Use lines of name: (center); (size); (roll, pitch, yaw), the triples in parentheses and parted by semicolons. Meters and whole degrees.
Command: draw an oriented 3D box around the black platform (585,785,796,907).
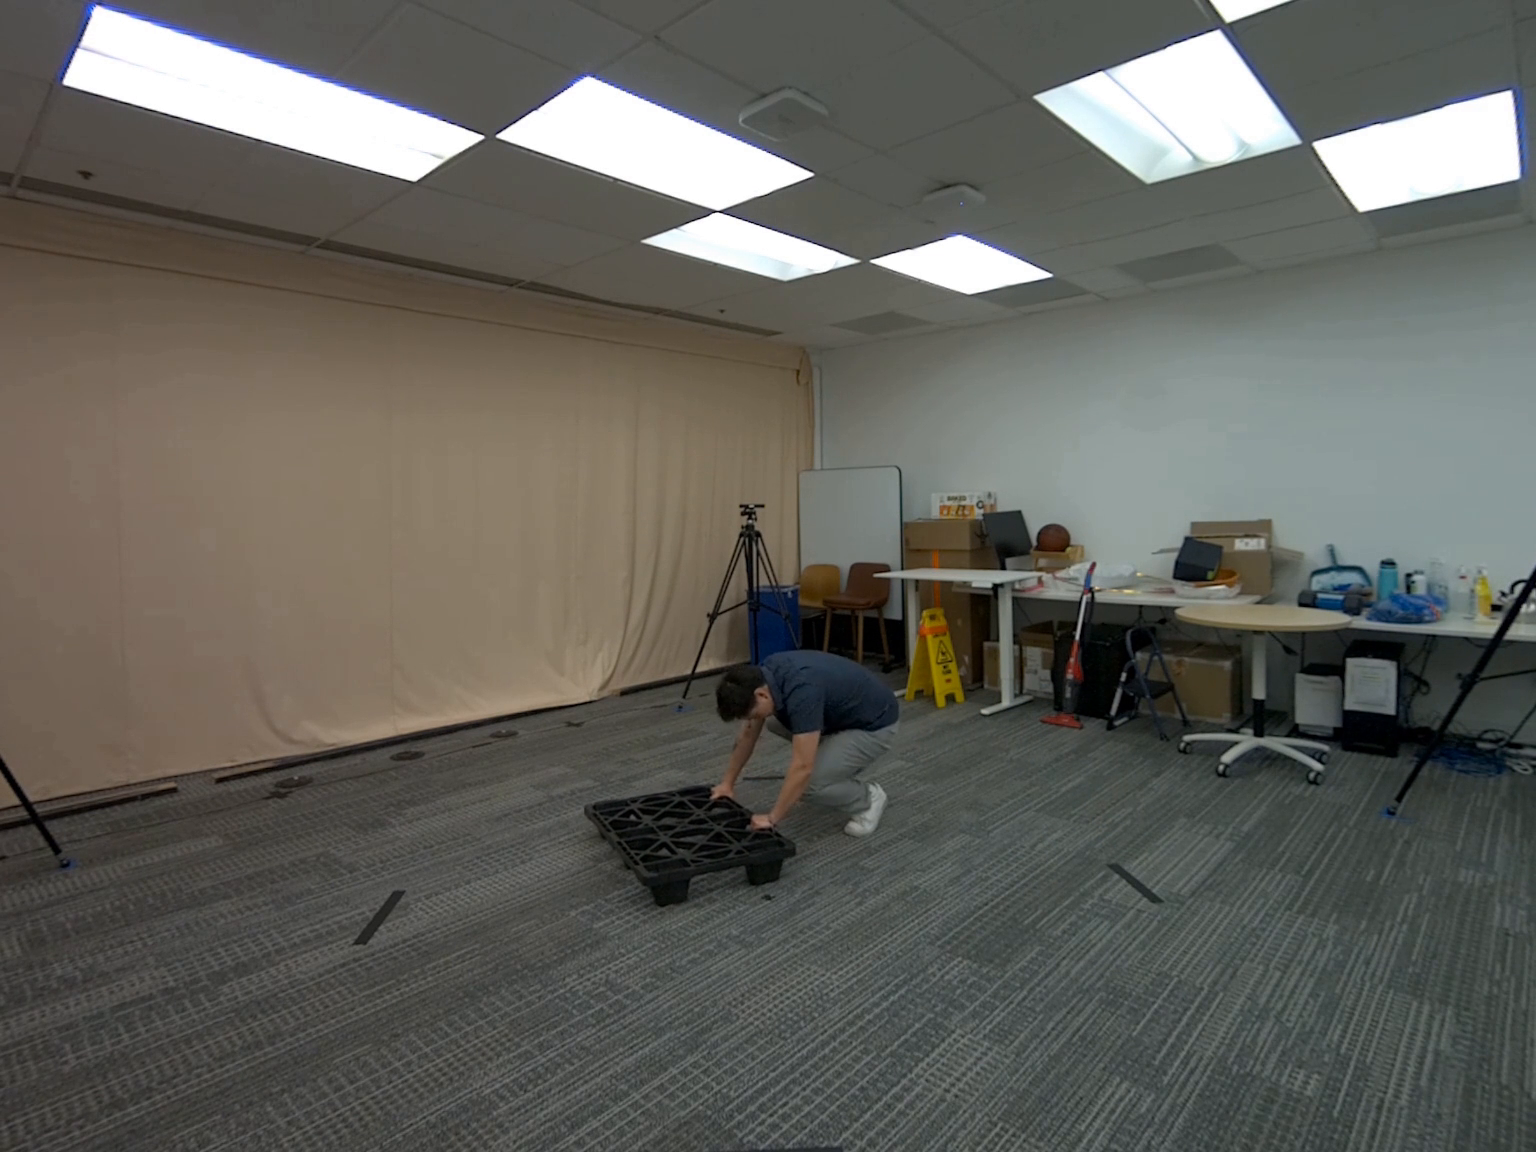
black platform: (-0.340, 1.048, 3.336); (0.591, 0.143, 0.827); (-4, 5, -26)
